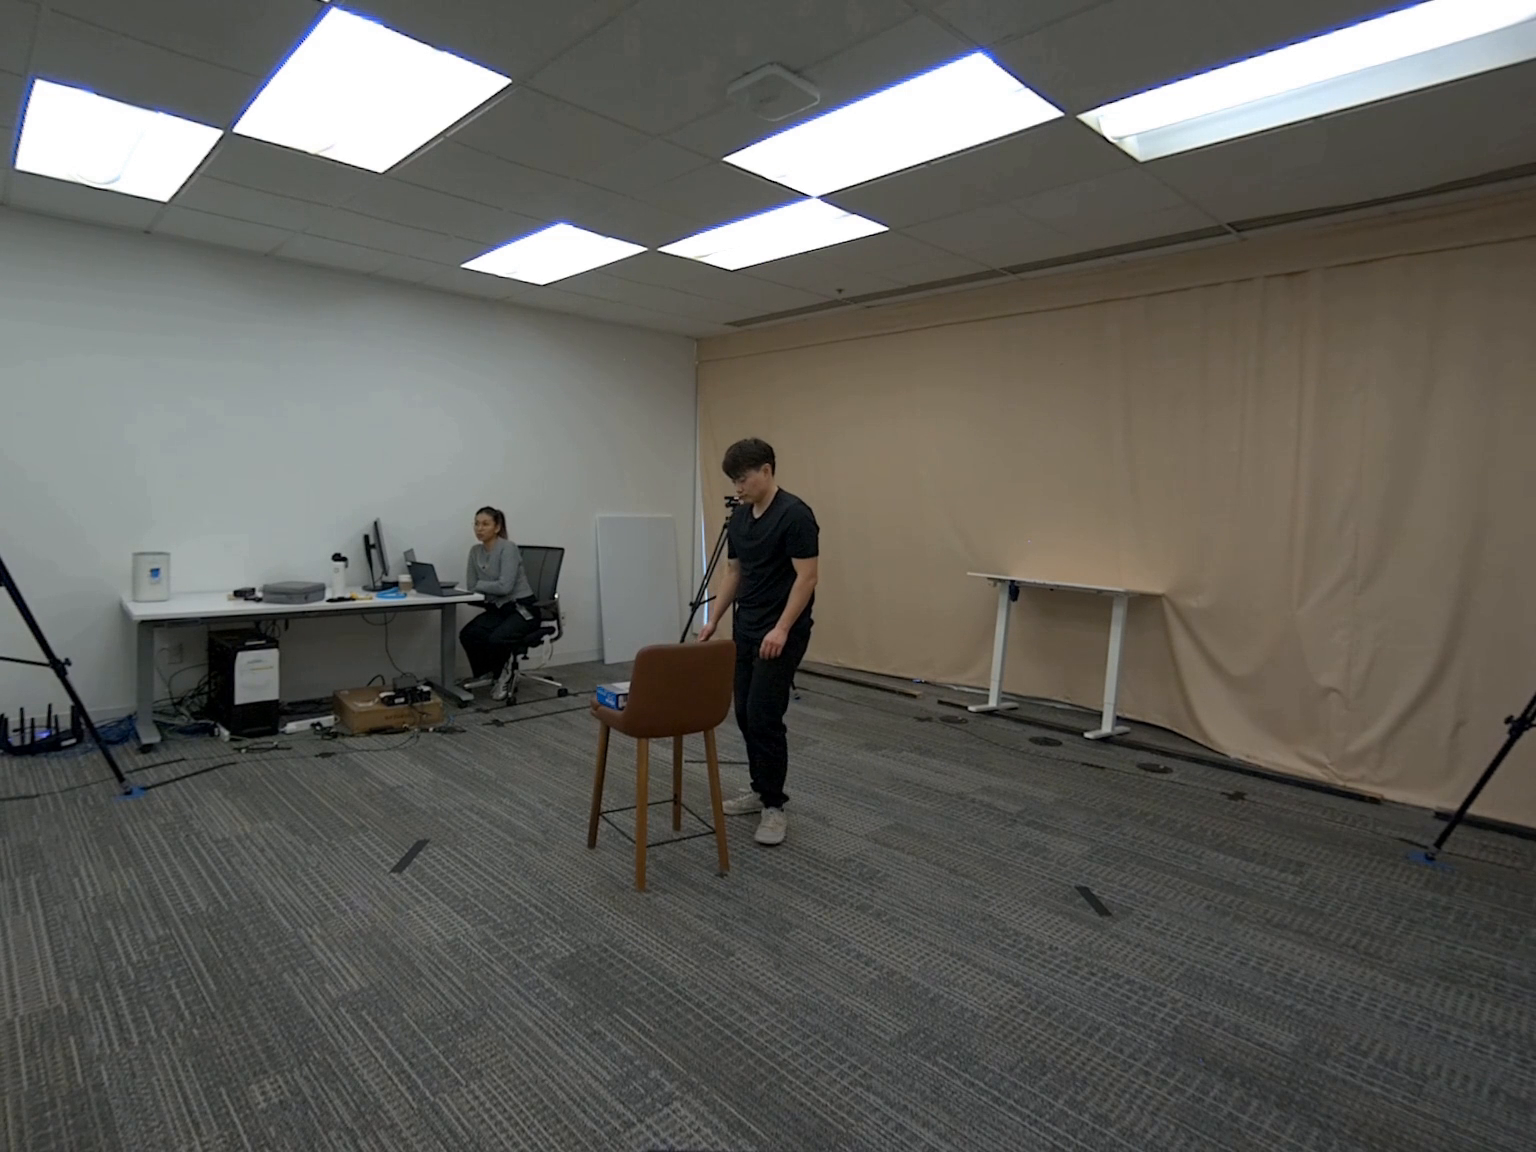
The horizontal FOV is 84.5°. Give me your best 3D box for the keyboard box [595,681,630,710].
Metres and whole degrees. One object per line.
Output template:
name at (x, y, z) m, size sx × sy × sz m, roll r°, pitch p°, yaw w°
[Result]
keyboard box at (-0.430, 0.445, 3.231) m, size 0.427 × 0.059 × 0.180 m, roll -2°, pitch 5°, yaw -33°
